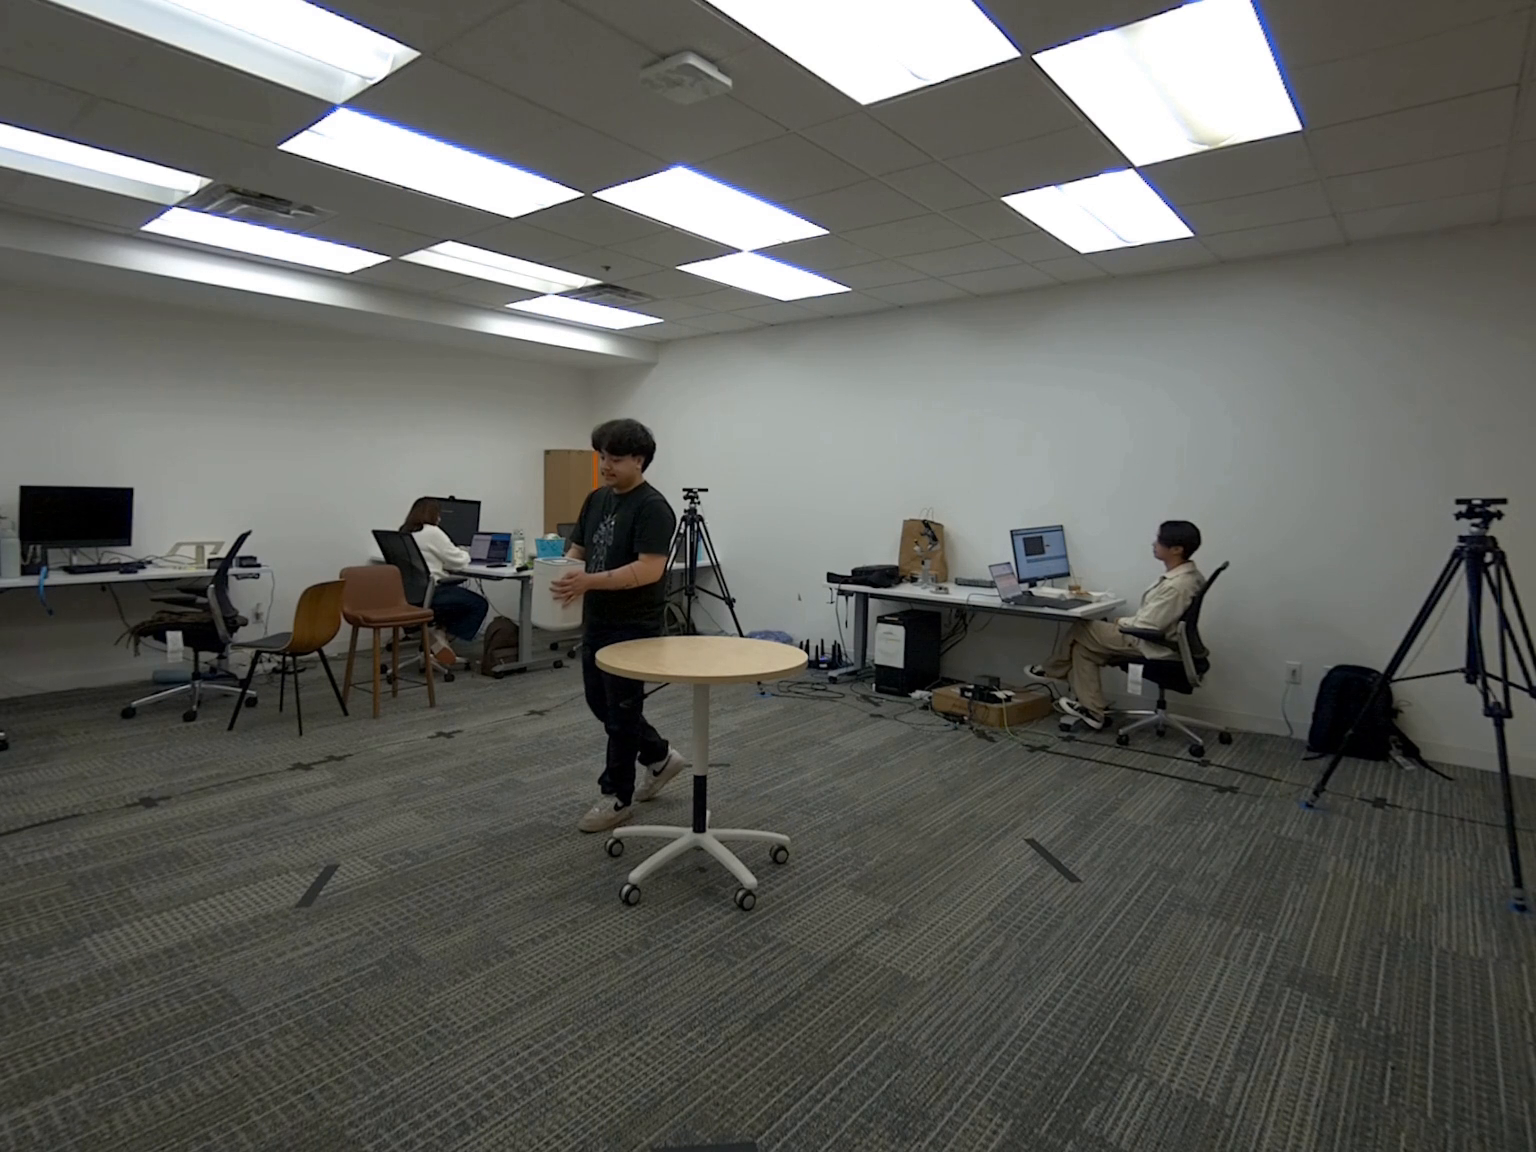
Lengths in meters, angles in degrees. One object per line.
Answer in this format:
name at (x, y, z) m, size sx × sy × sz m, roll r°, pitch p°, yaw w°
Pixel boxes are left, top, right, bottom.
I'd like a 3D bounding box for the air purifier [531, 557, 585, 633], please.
air purifier at (-0.841, 0.066, 3.358) m, size 0.177 × 0.264 × 0.166 m, roll 10°, pitch 8°, yaw 39°
